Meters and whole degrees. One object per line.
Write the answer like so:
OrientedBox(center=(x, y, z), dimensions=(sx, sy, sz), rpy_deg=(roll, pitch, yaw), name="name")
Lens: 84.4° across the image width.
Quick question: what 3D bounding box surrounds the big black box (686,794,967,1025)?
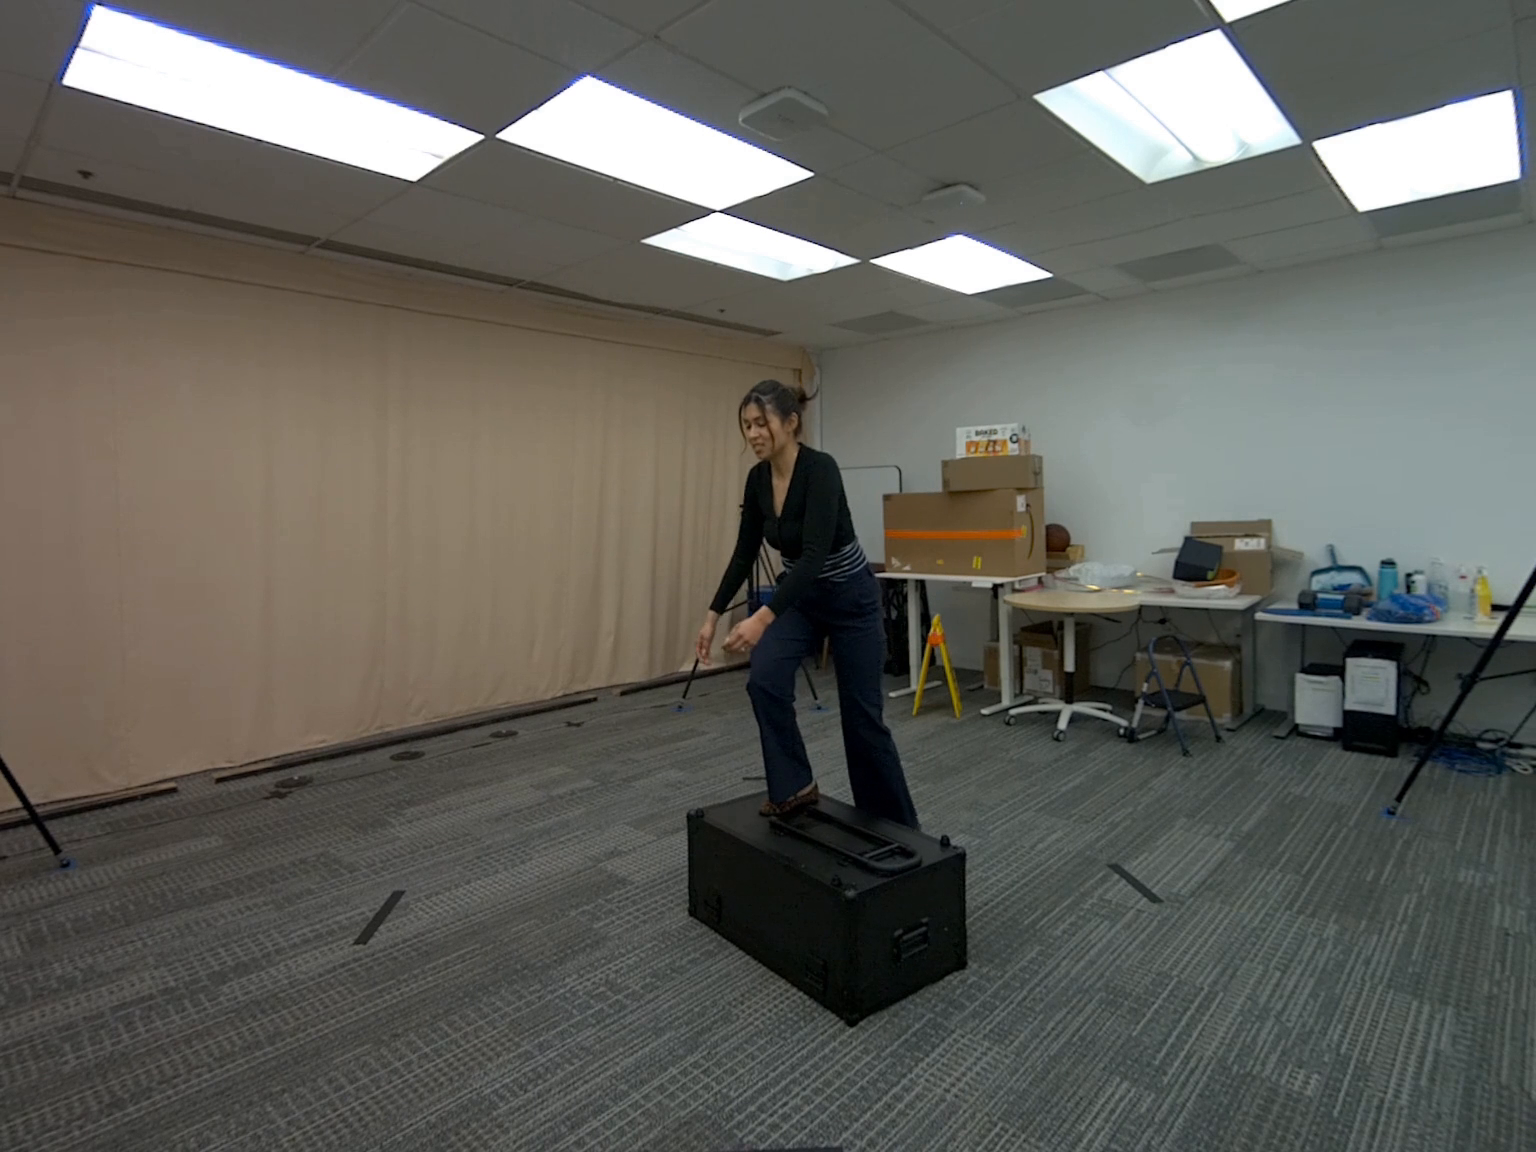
OrientedBox(center=(0.181, 0.993, 2.655), dimensions=(0.506, 0.395, 0.889), rpy_deg=(-4, 6, -38), name="big black box")
